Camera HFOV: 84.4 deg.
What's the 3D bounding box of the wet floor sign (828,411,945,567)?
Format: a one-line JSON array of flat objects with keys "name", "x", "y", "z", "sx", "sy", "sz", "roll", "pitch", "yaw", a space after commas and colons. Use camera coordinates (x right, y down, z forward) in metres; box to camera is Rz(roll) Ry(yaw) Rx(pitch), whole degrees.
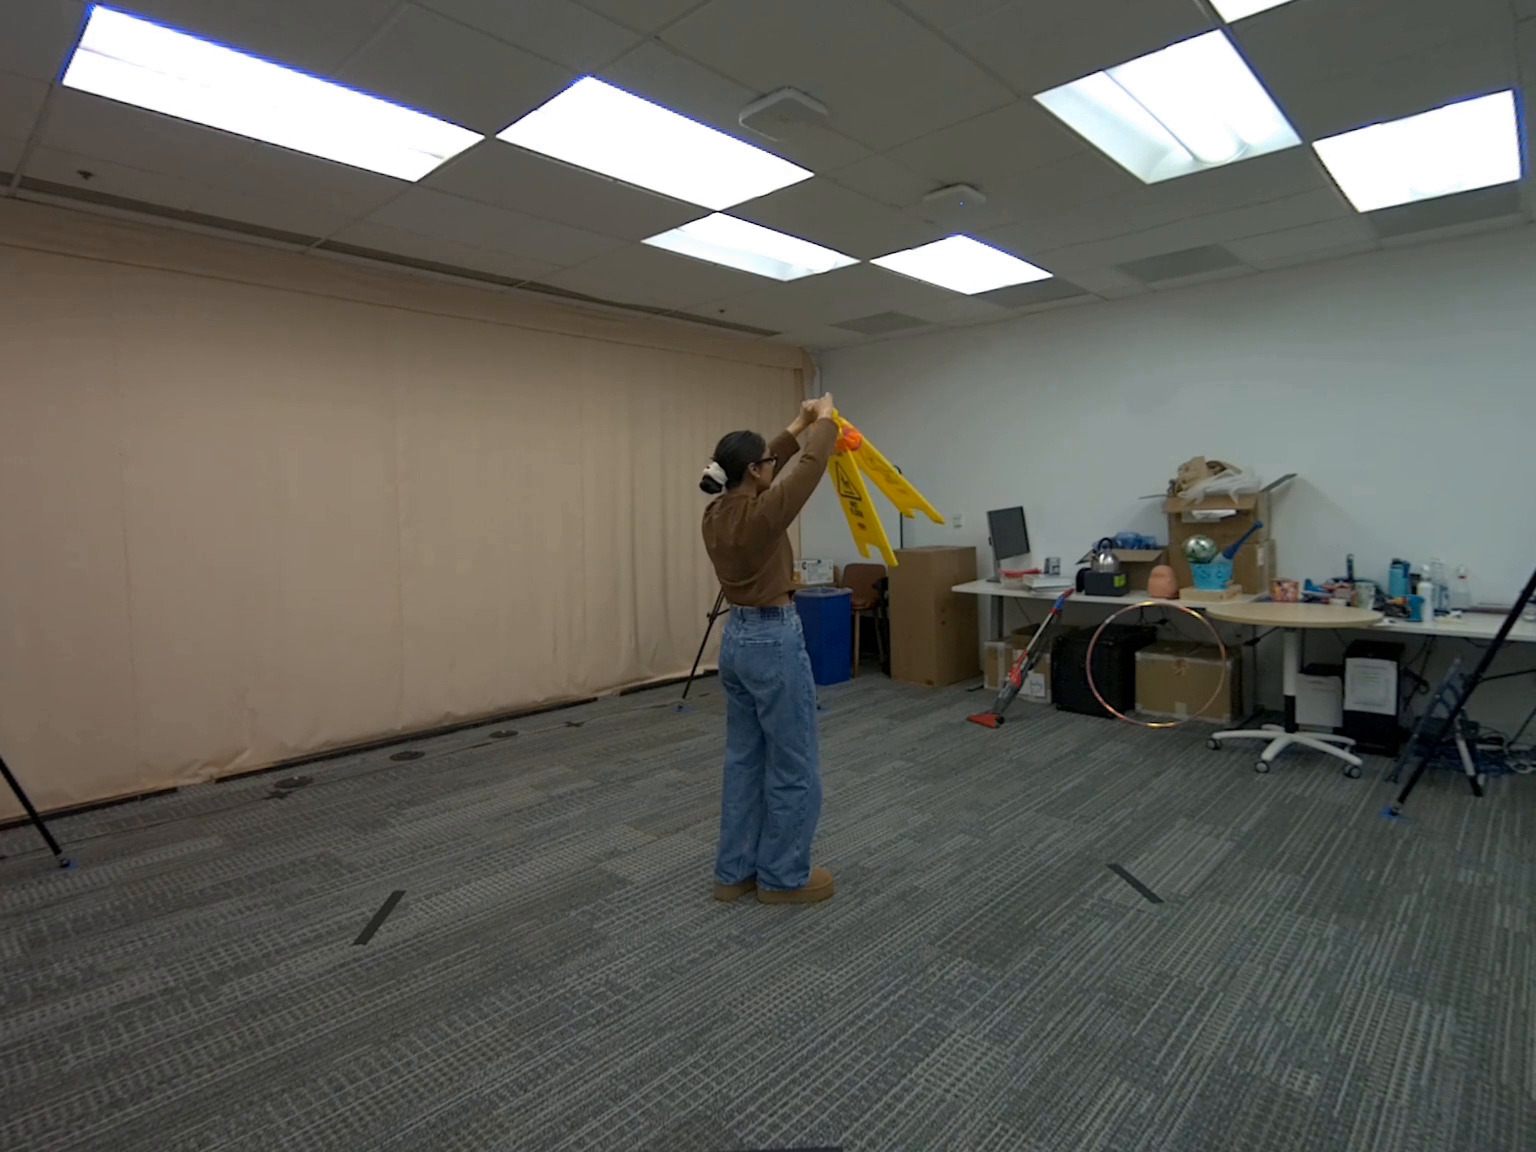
[{"name": "wet floor sign", "x": 0.362, "y": -0.387, "z": 3.218, "sx": 0.288, "sy": 0.633, "sz": 0.289, "roll": -39, "pitch": 19, "yaw": -11}]
